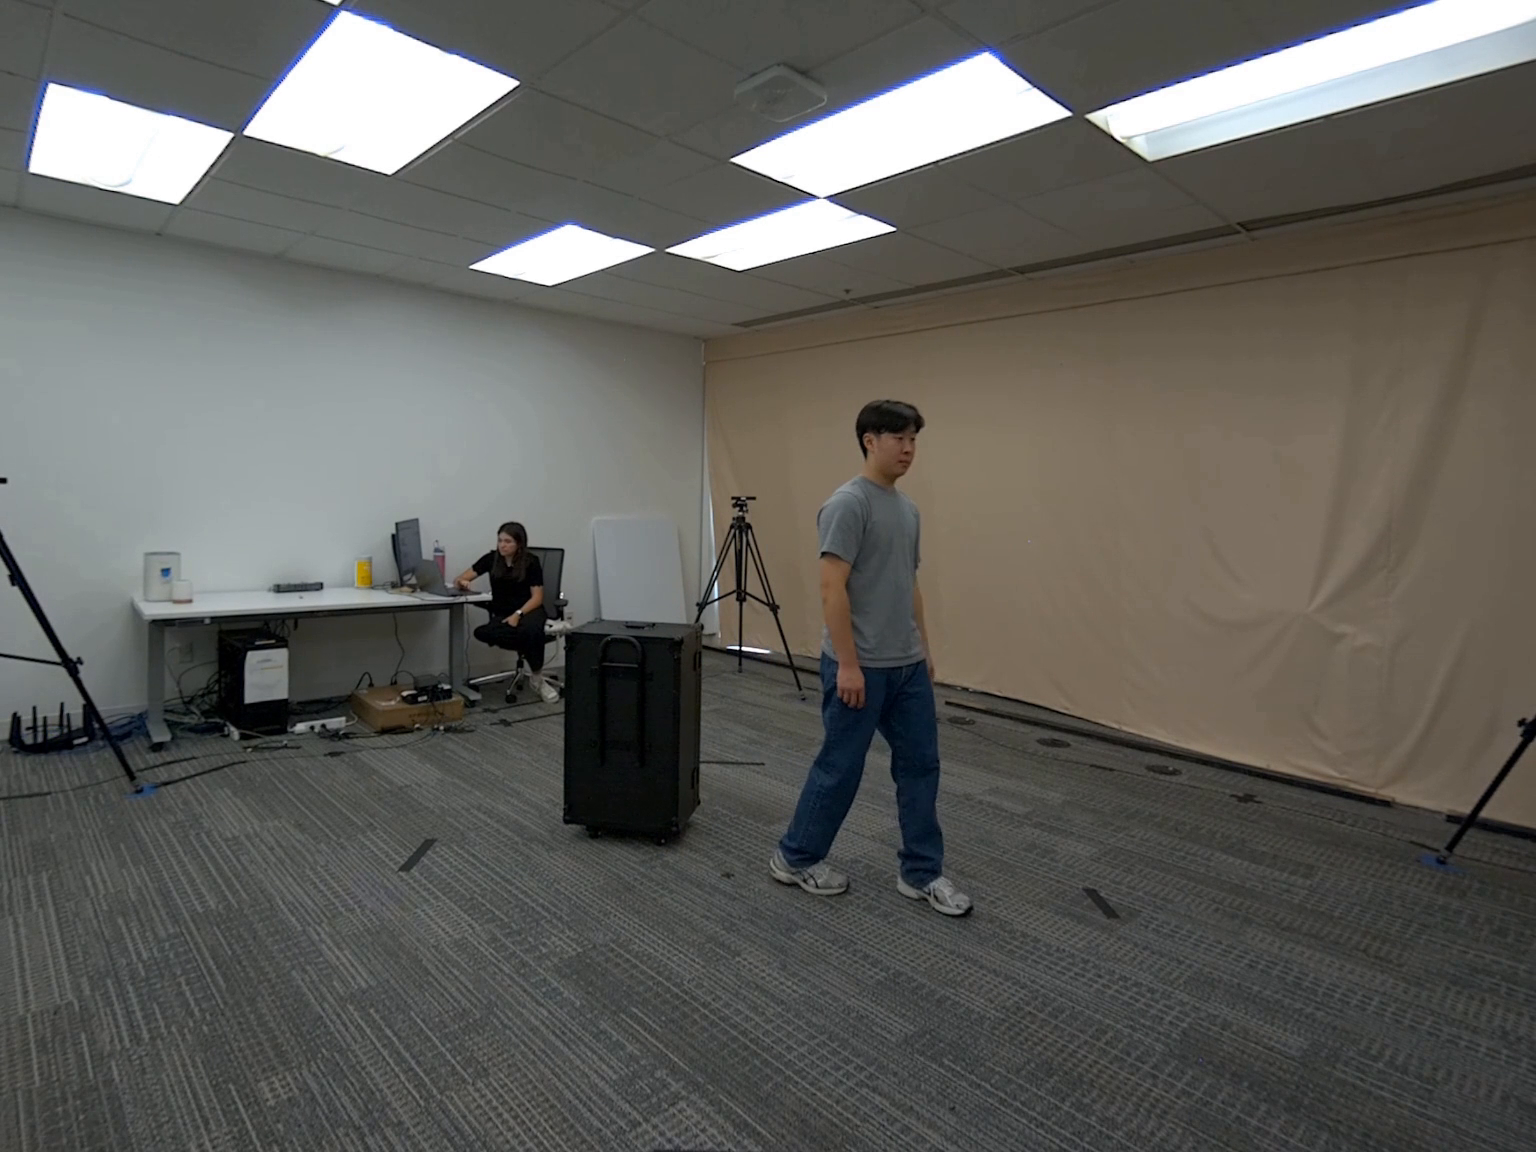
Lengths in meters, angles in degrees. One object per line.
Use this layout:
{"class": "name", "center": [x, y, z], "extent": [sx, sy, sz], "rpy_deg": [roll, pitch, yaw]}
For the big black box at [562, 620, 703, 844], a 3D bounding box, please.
{"class": "big black box", "center": [-0.556, 0.641, 3.482], "extent": [0.526, 0.859, 0.393], "rpy_deg": [3, 4, 12]}
